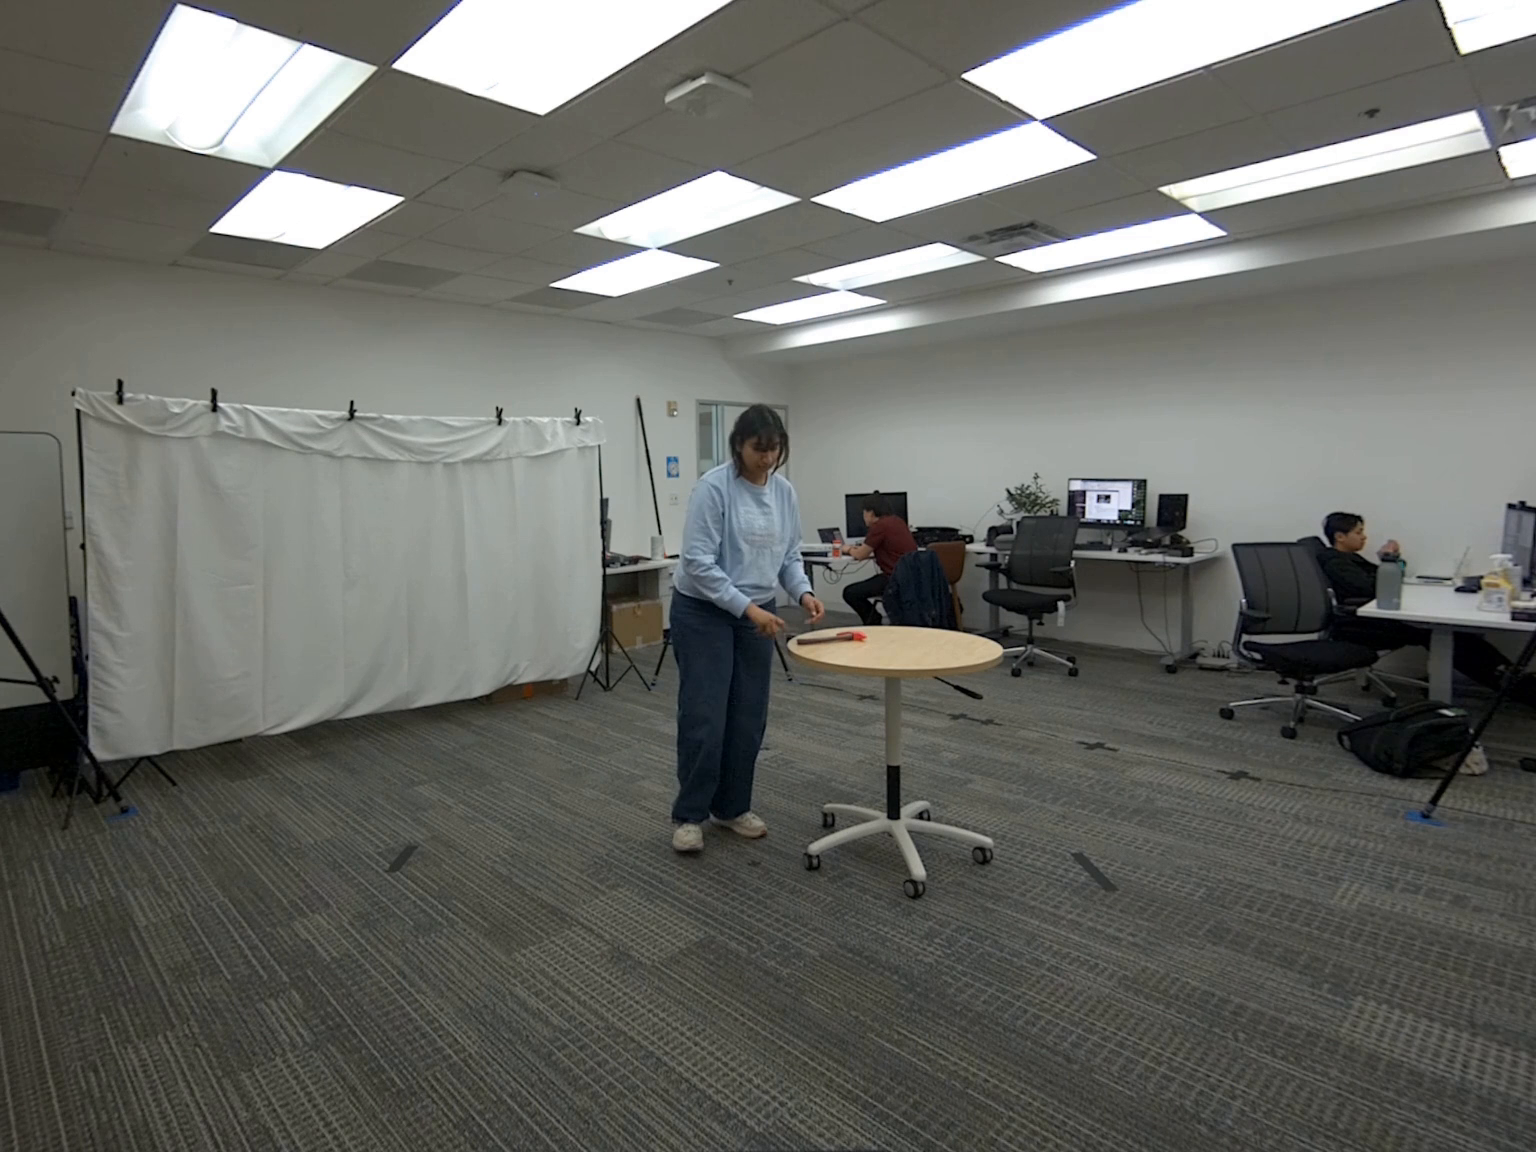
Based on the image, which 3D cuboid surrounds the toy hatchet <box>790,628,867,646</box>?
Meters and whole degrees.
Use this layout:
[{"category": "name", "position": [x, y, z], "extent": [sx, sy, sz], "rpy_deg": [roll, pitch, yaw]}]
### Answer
[{"category": "toy hatchet", "position": [0.227, 0.227, 3.221], "extent": [0.268, 0.029, 0.133], "rpy_deg": [-3, 7, -7]}]
